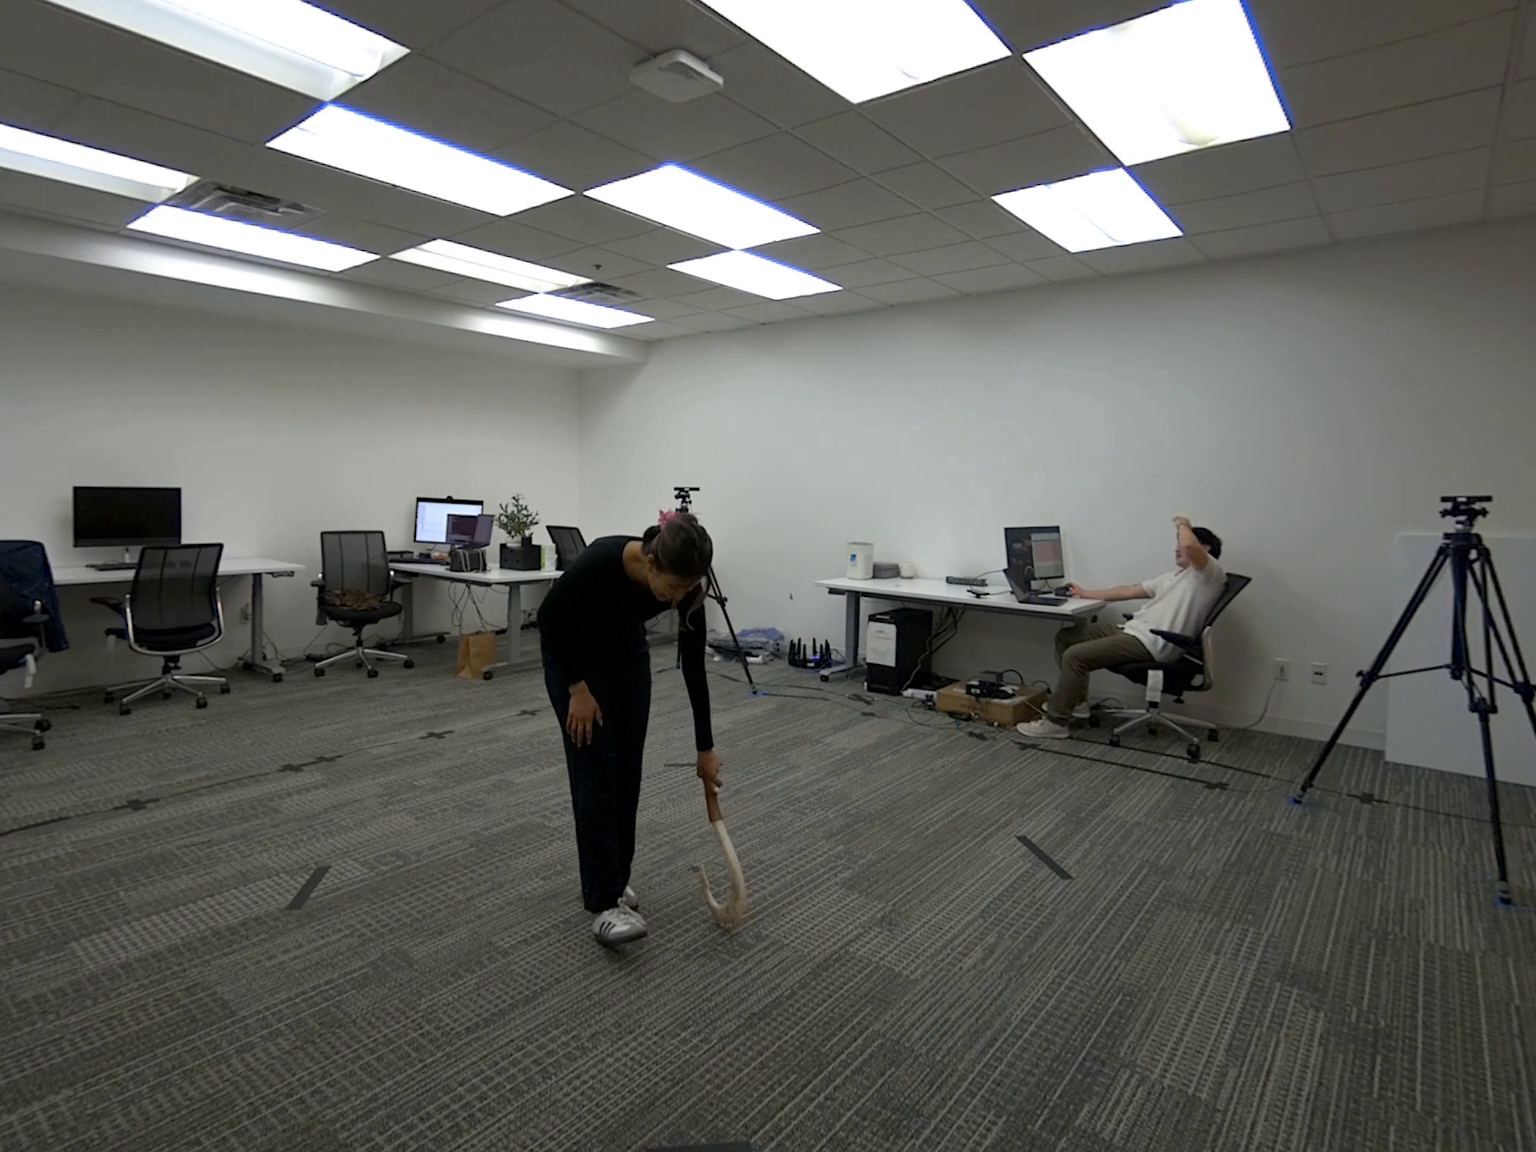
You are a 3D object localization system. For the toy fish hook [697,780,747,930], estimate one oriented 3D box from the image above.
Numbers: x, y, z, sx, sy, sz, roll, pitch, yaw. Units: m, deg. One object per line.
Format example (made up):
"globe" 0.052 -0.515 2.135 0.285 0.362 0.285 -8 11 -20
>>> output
"toy fish hook" -0.188 0.864 2.759 0.046 0.521 0.226 9 -34 -41
